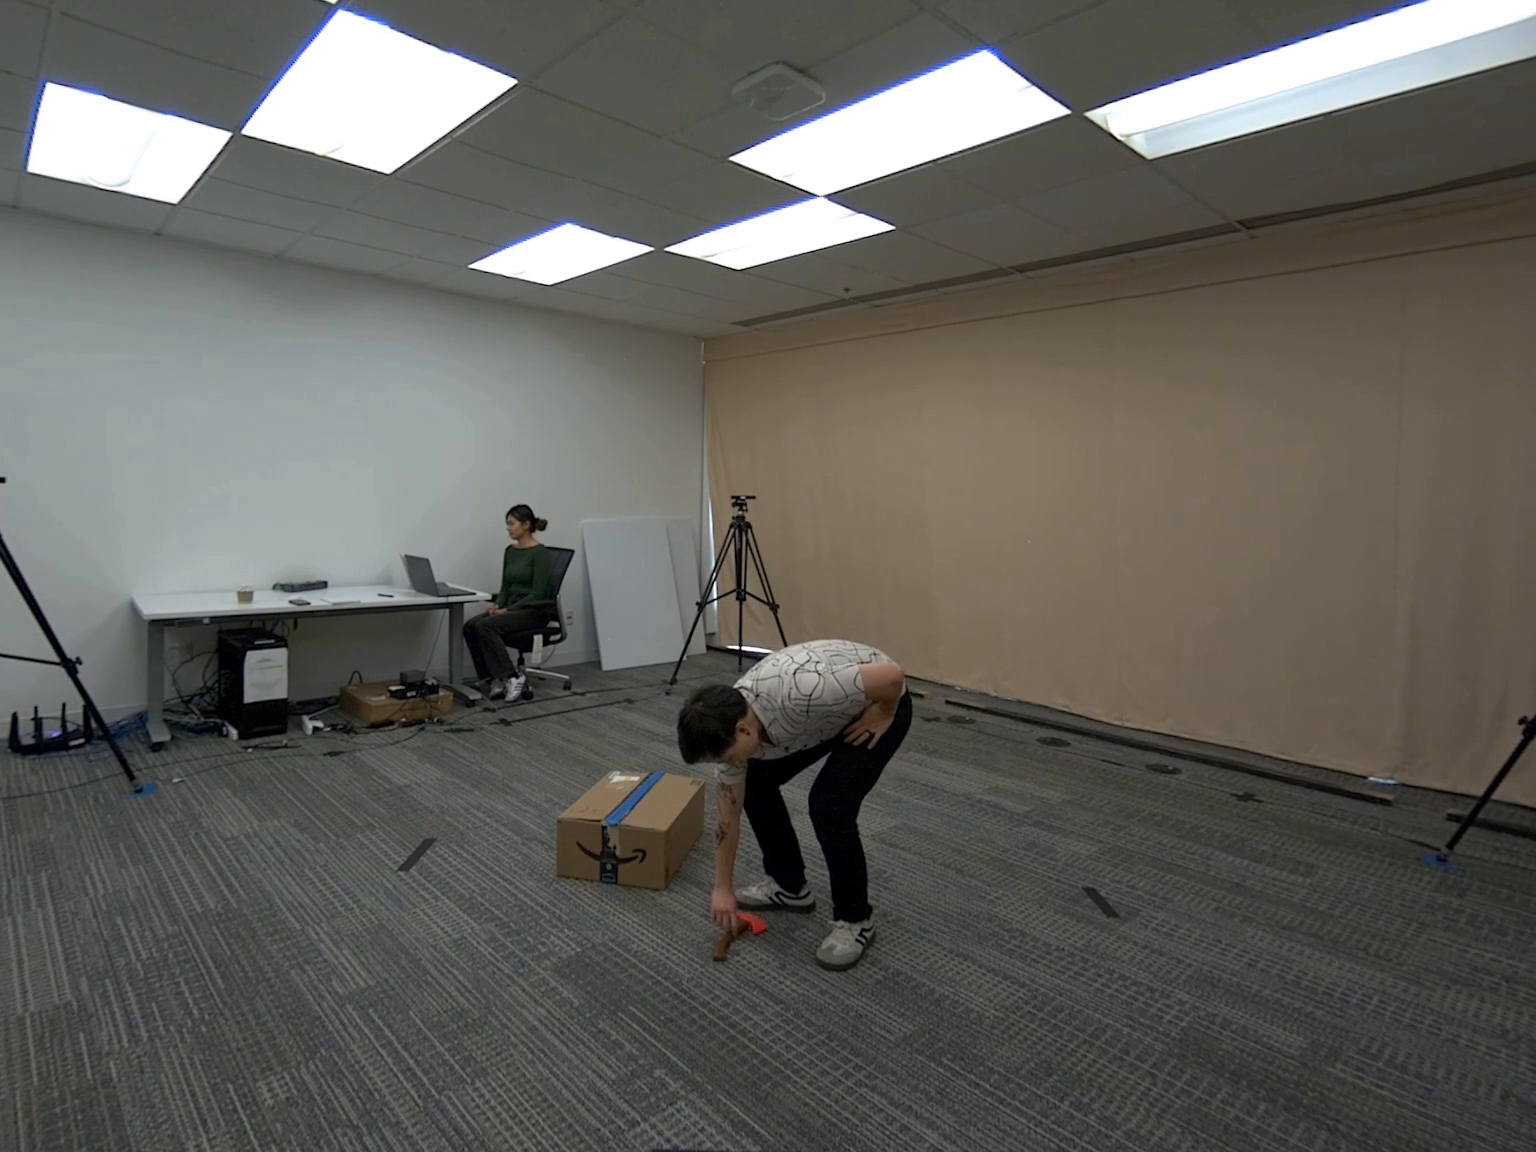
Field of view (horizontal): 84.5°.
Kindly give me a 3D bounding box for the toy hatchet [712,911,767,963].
[{"bbox_3d":[-0.083,1.128,2.638,0.132,0.029,0.269,3,8,11],"label":"toy hatchet"}]
